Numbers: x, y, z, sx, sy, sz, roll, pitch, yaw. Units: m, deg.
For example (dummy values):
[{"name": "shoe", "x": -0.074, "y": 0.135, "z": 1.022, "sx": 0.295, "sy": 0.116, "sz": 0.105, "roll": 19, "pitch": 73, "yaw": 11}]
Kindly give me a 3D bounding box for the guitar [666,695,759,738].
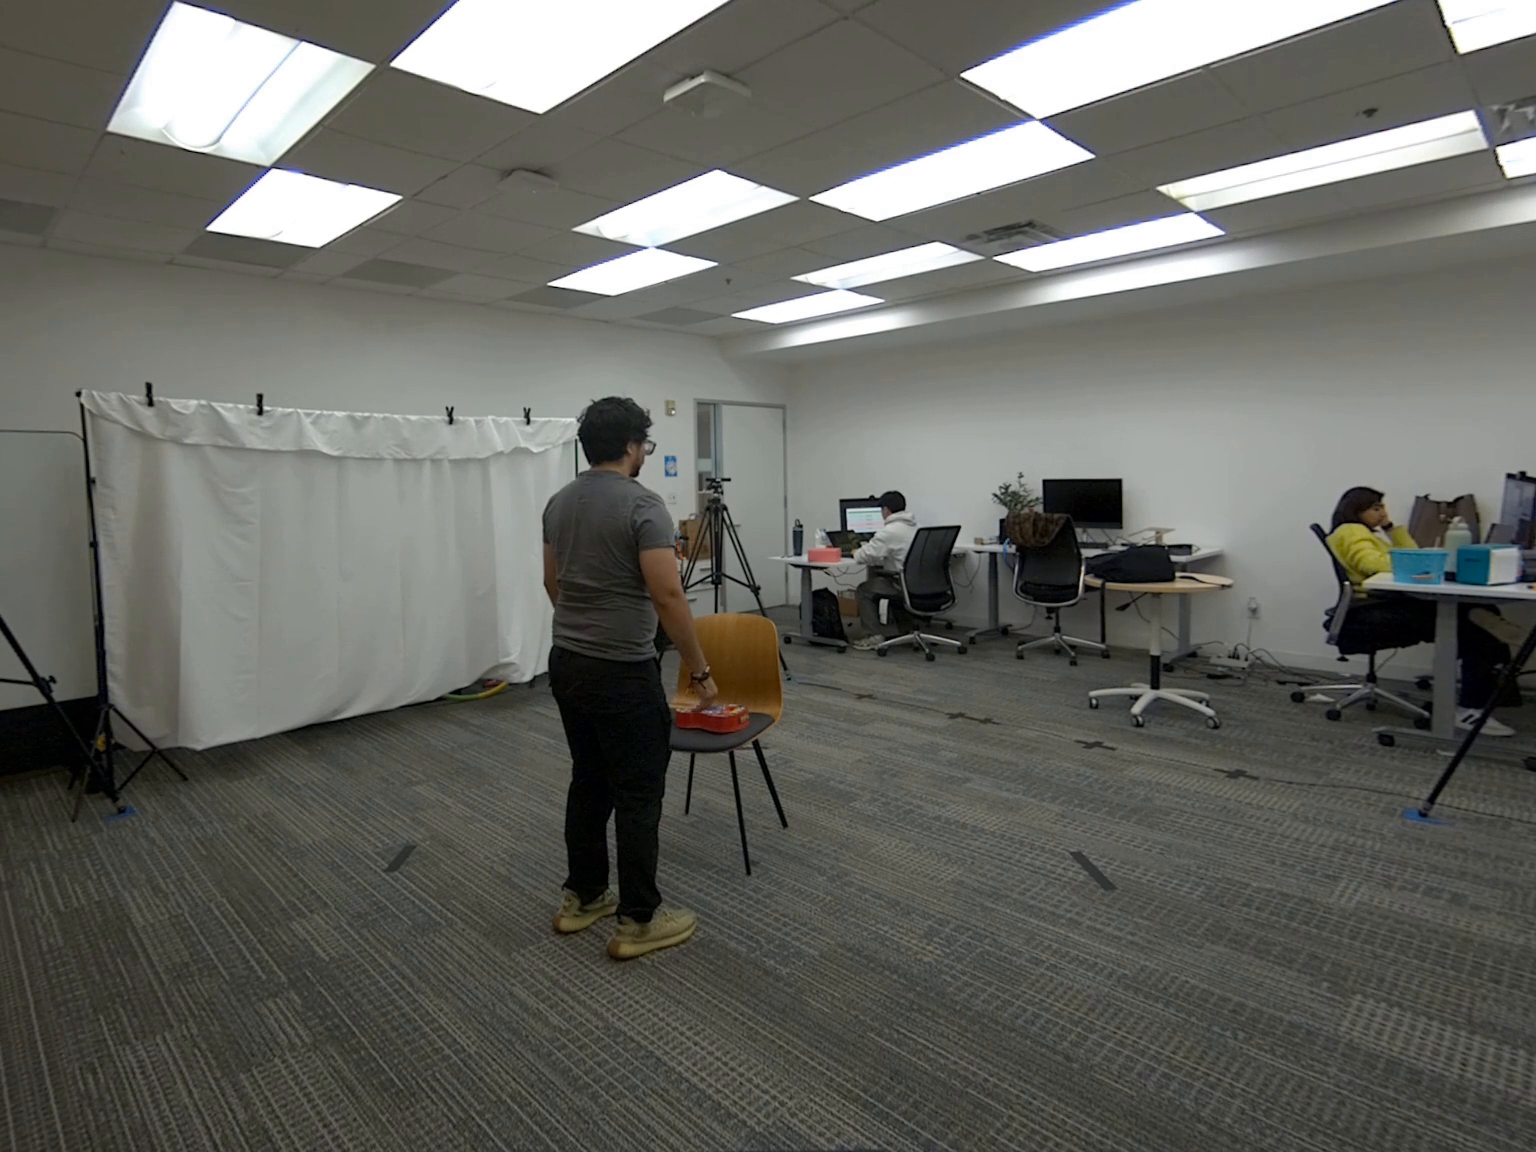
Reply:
[{"name": "guitar", "x": -0.302, "y": 0.519, "z": 3.241, "sx": 0.511, "sy": 0.070, "sz": 0.188, "roll": 1, "pitch": 5, "yaw": 33}]
